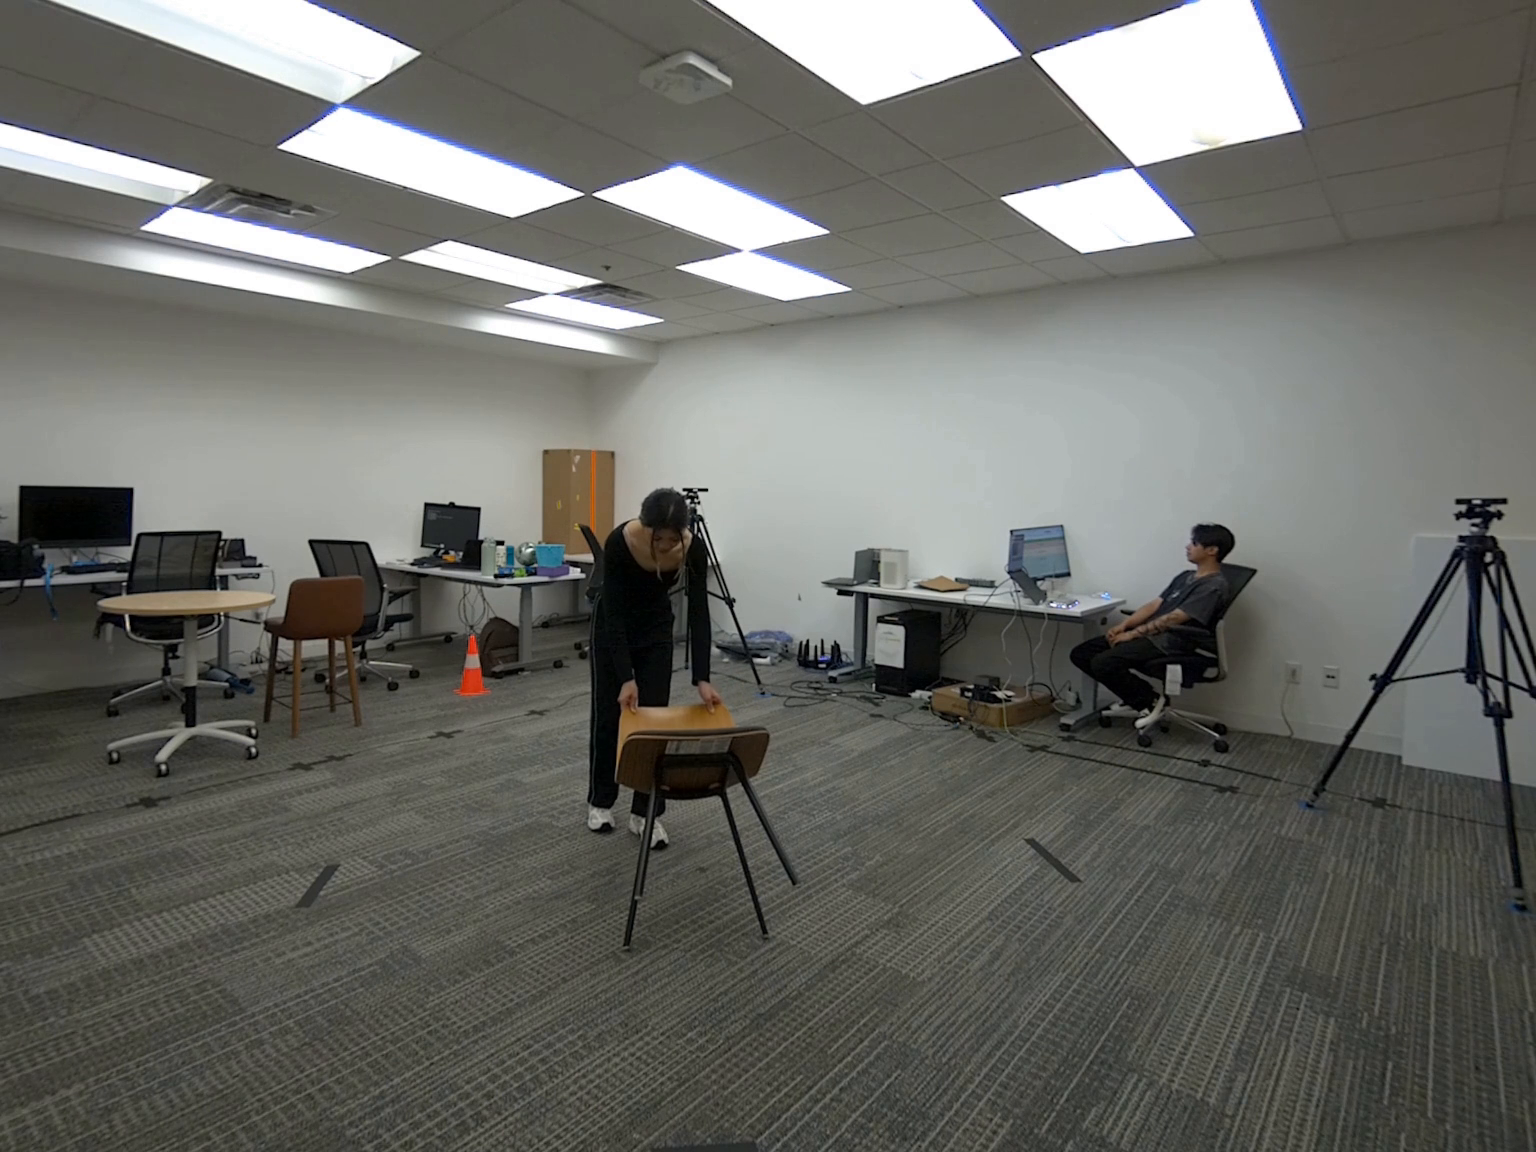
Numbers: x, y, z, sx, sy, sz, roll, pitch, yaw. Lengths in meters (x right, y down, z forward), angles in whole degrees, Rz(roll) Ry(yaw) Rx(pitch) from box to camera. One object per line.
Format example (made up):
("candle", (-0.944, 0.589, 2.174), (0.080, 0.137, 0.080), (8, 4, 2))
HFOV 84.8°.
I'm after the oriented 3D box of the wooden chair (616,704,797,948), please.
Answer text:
("wooden chair", (-0.247, 0.626, 2.714), (0.472, 0.511, 0.908), (-1, 45, -13))
